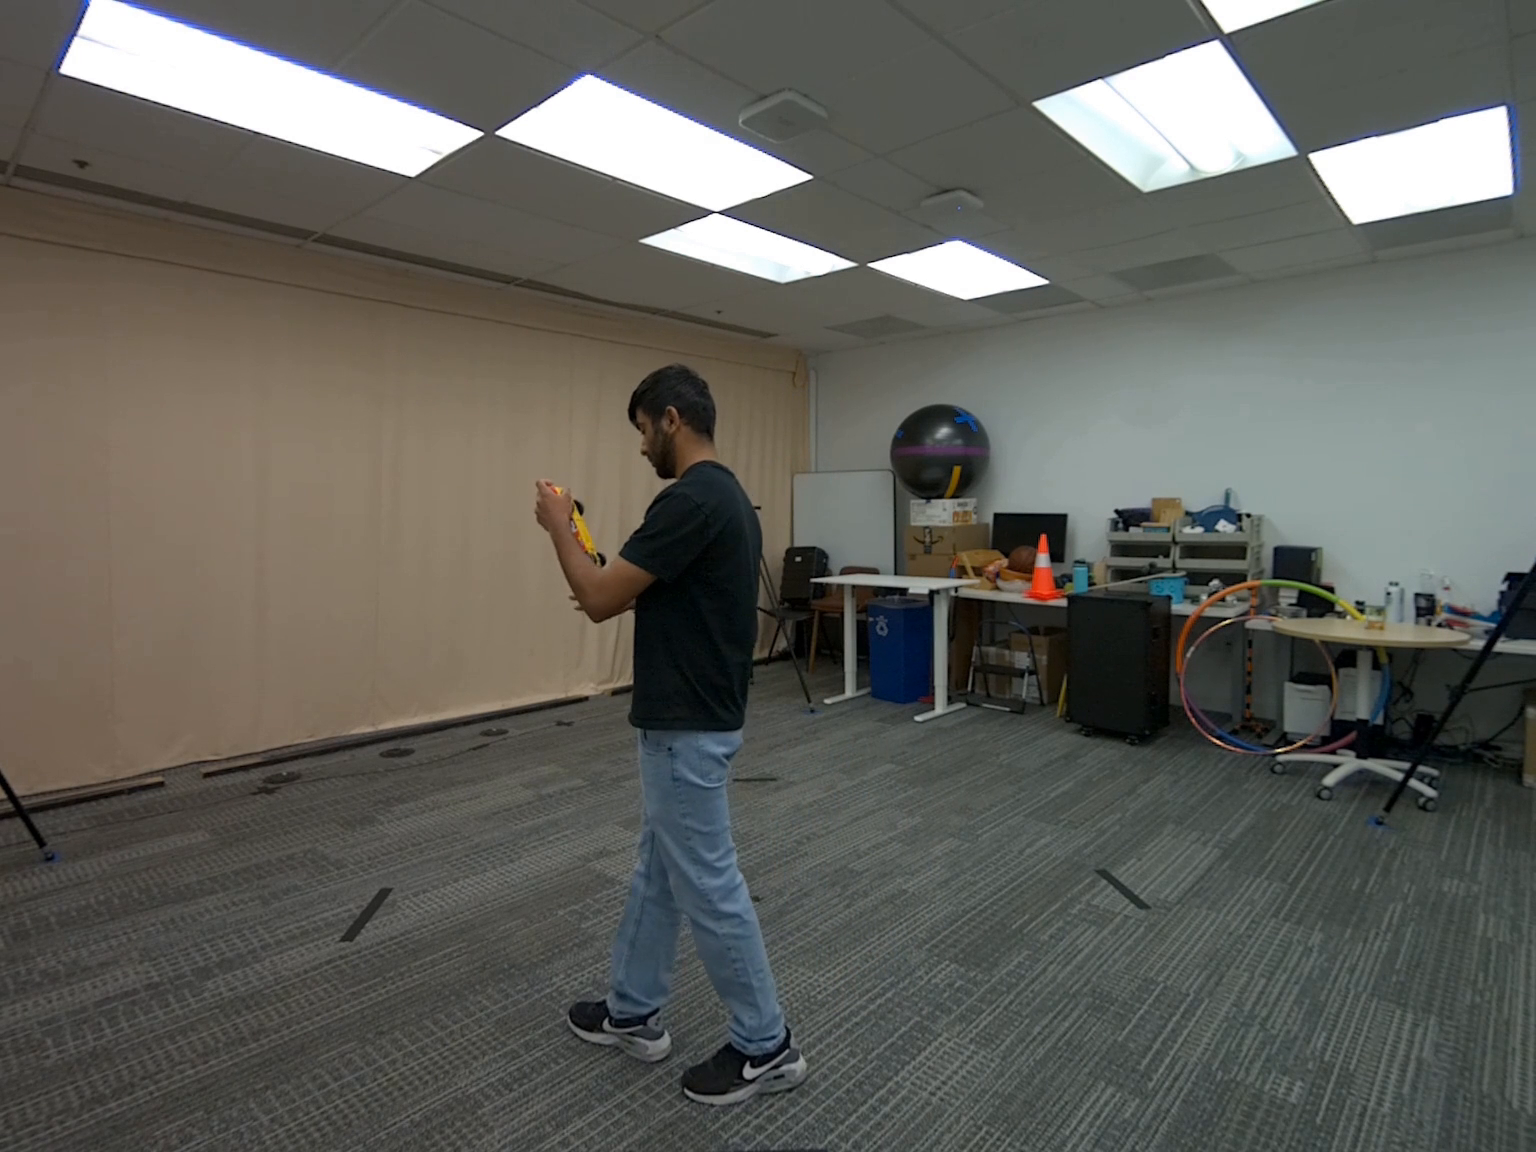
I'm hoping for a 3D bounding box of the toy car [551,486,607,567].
[{"bbox_3d":[-0.482,-0.115,2.102,0.083,0.255,0.130,-35,-2,3],"label":"toy car"}]
